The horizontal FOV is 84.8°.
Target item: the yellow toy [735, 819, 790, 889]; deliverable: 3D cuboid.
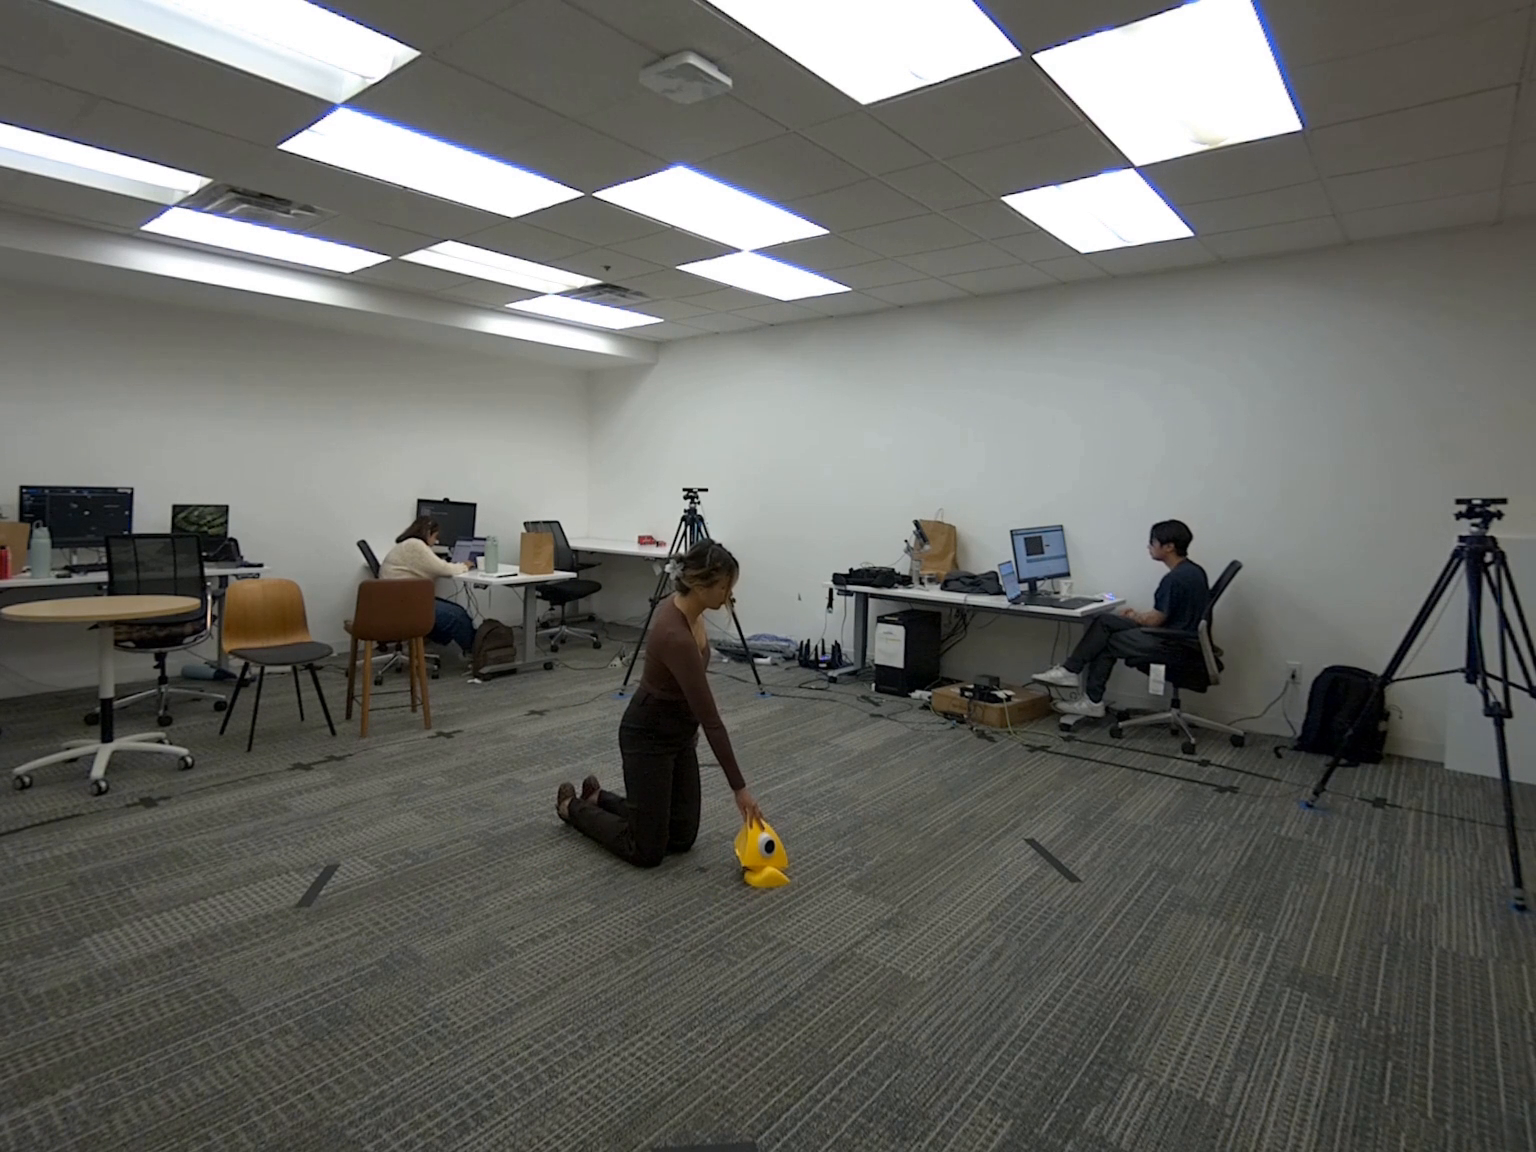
[{"bbox_3d":[-0.030,0.961,3.066,0.191,0.230,0.207,-1,4,-9],"label":"yellow toy"}]
